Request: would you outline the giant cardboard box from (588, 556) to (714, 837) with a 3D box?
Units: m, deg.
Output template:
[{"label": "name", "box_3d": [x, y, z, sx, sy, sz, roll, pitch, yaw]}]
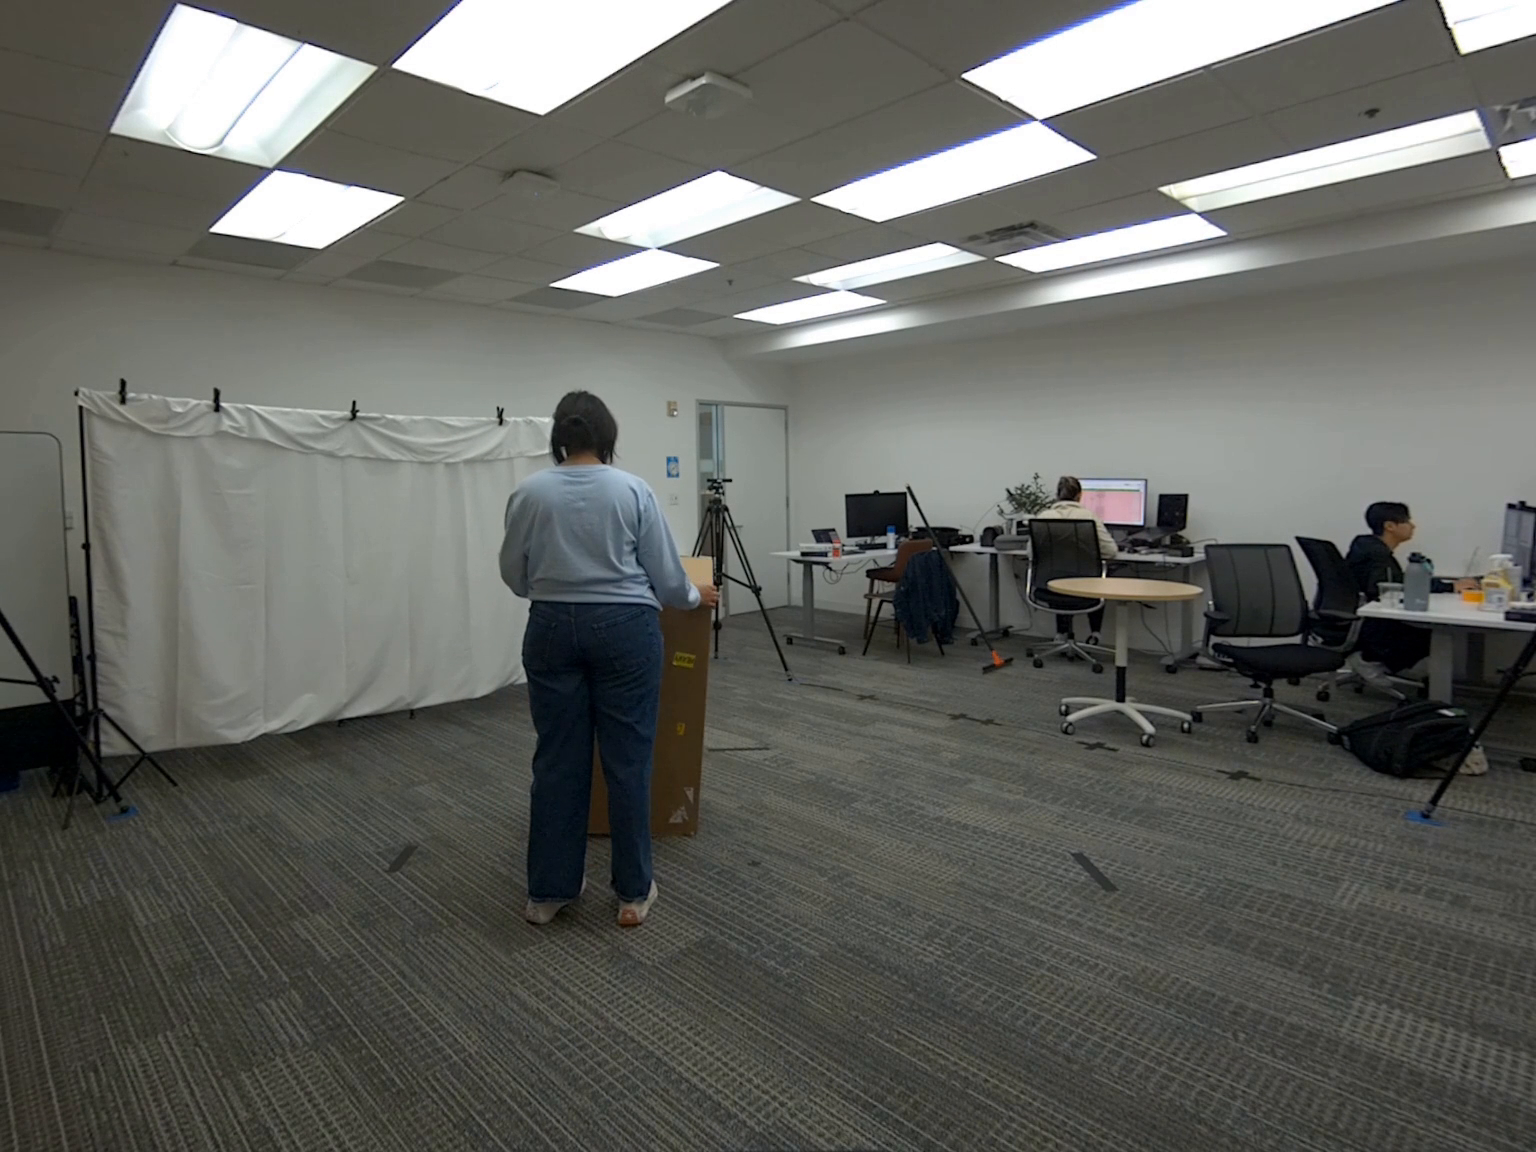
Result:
[{"label": "giant cardboard box", "box_3d": [-0.539, 0.465, 3.415, 0.583, 1.013, 0.454, 4, 16, -3]}]
